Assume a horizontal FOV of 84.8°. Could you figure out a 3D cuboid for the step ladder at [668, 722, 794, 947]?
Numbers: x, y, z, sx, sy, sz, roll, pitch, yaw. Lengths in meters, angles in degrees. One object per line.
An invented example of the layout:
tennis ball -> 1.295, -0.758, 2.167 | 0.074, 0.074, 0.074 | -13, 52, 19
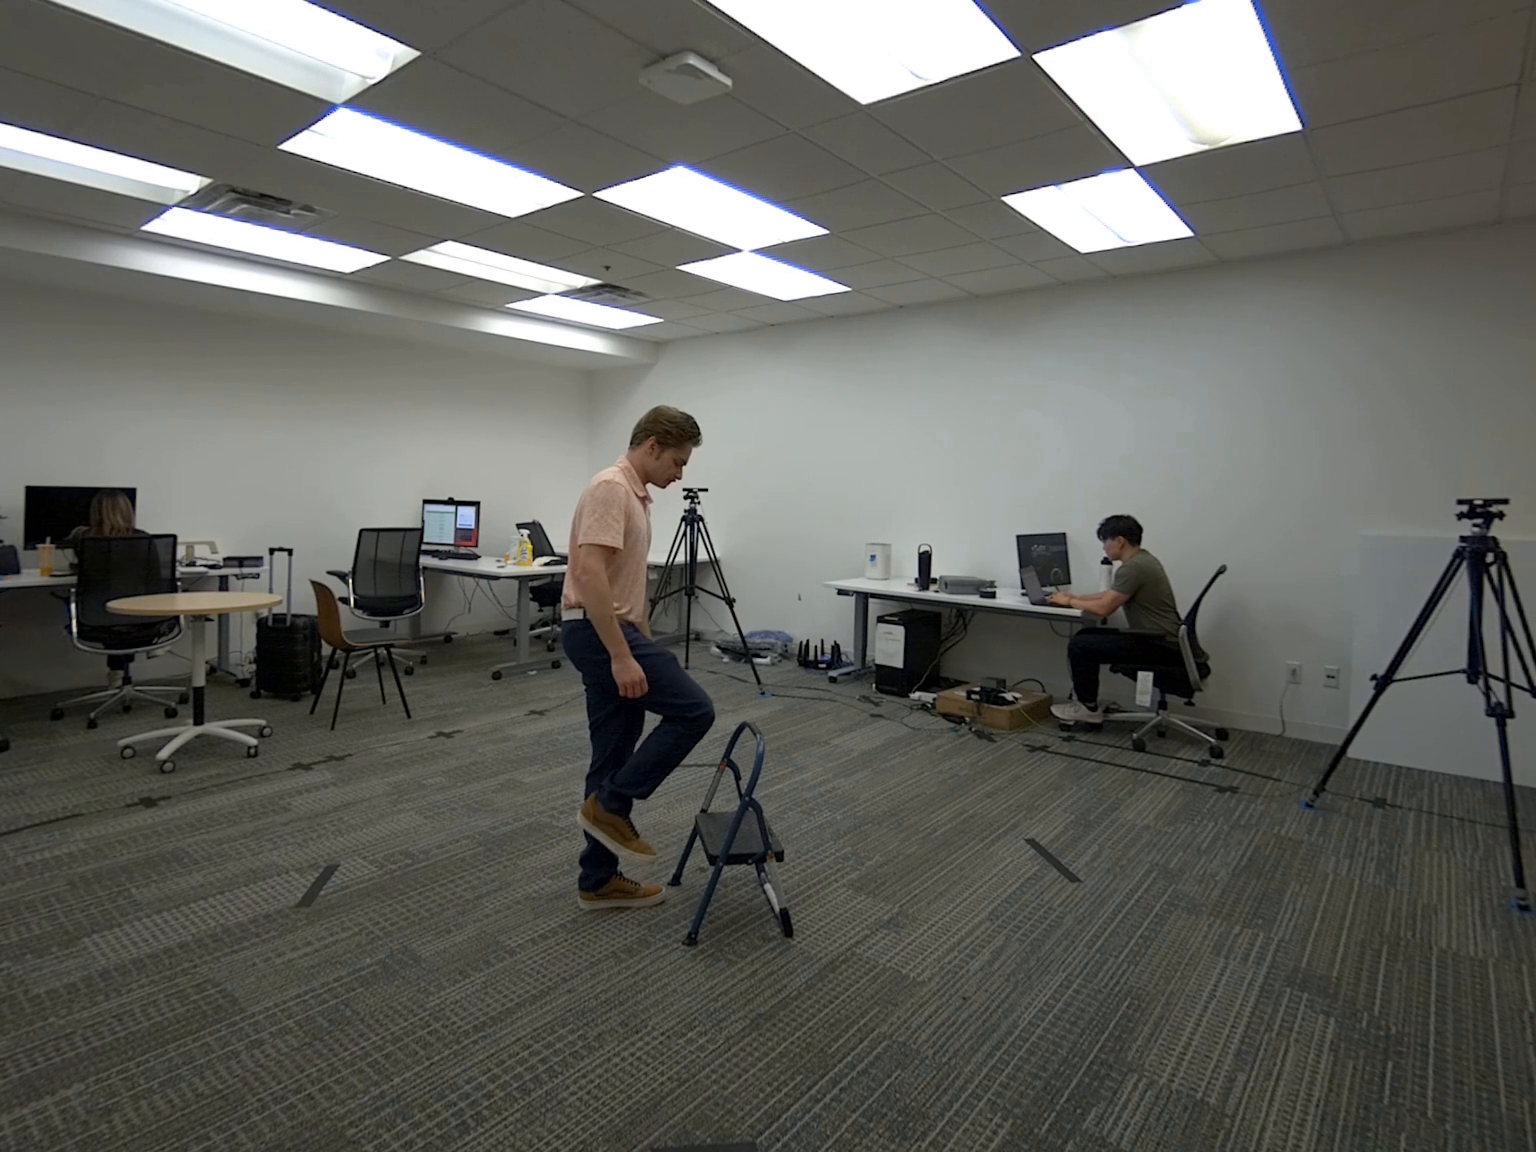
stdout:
step ladder -> -0.132, 0.802, 2.798 | 0.345, 0.604, 0.438 | 1, 4, -13
